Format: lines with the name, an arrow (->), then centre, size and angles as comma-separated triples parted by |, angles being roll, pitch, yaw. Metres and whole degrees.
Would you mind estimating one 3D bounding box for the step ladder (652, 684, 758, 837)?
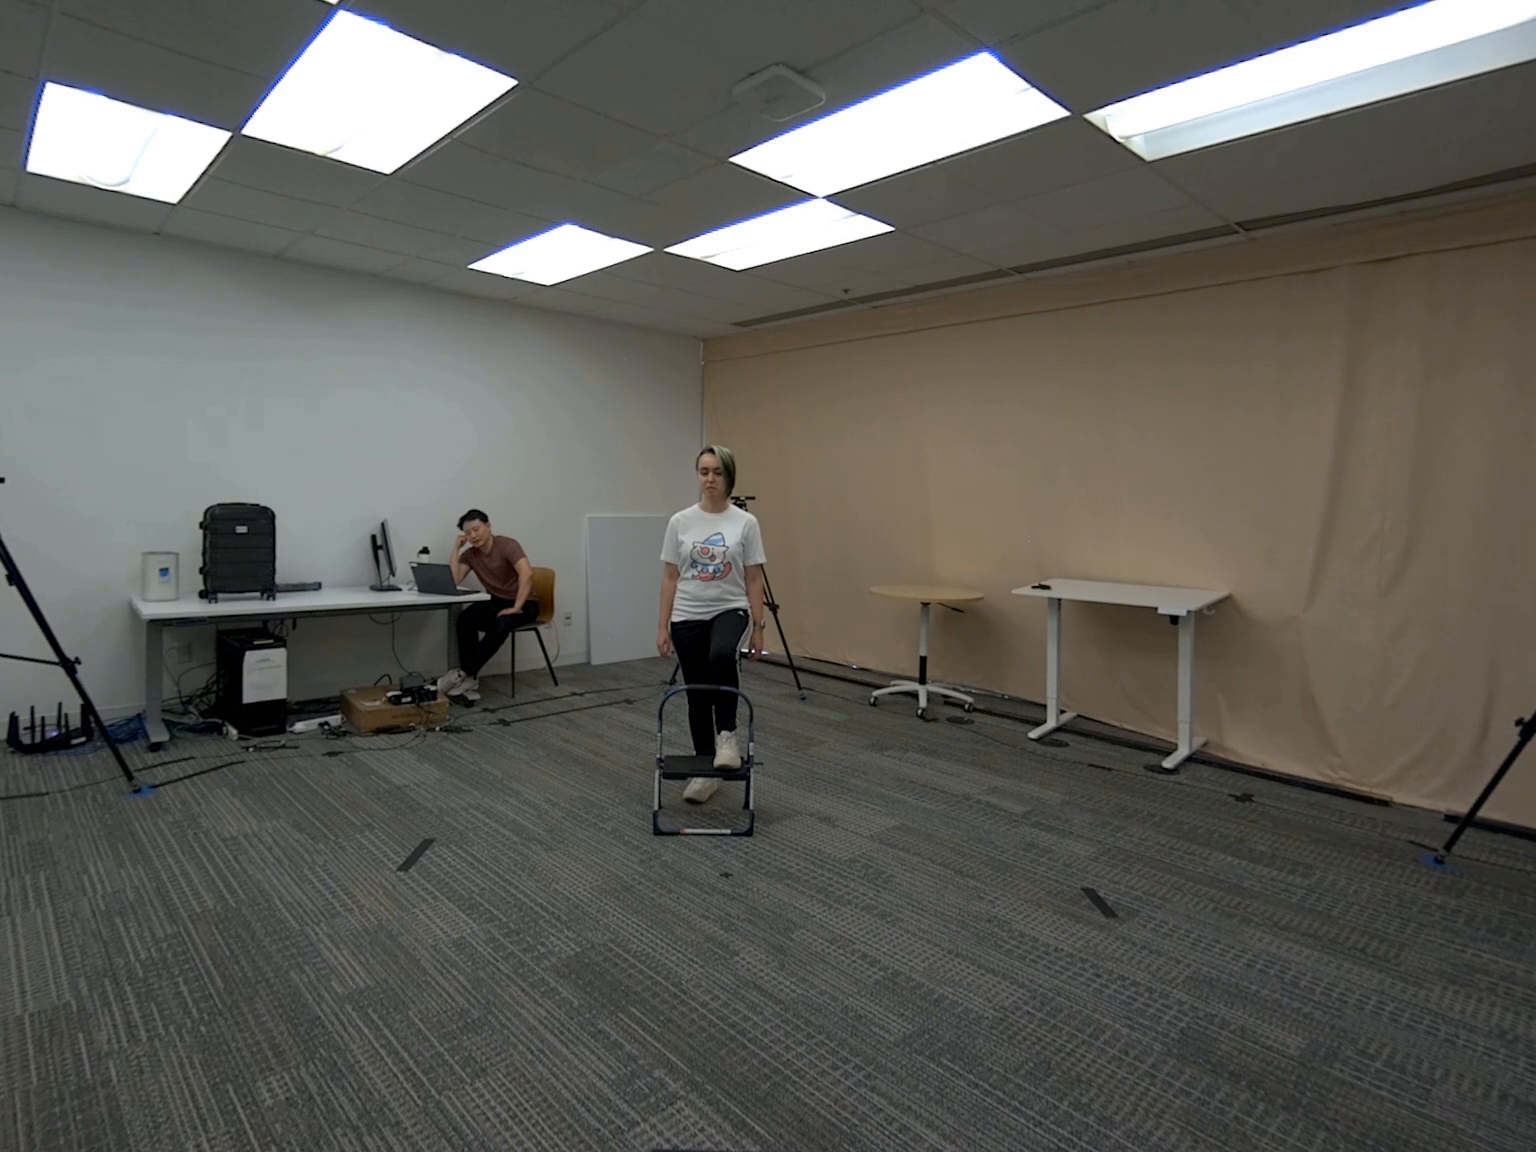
step ladder -> -0.284, 0.760, 3.615 | 0.429, 0.605, 0.351 | 1, 3, -5
